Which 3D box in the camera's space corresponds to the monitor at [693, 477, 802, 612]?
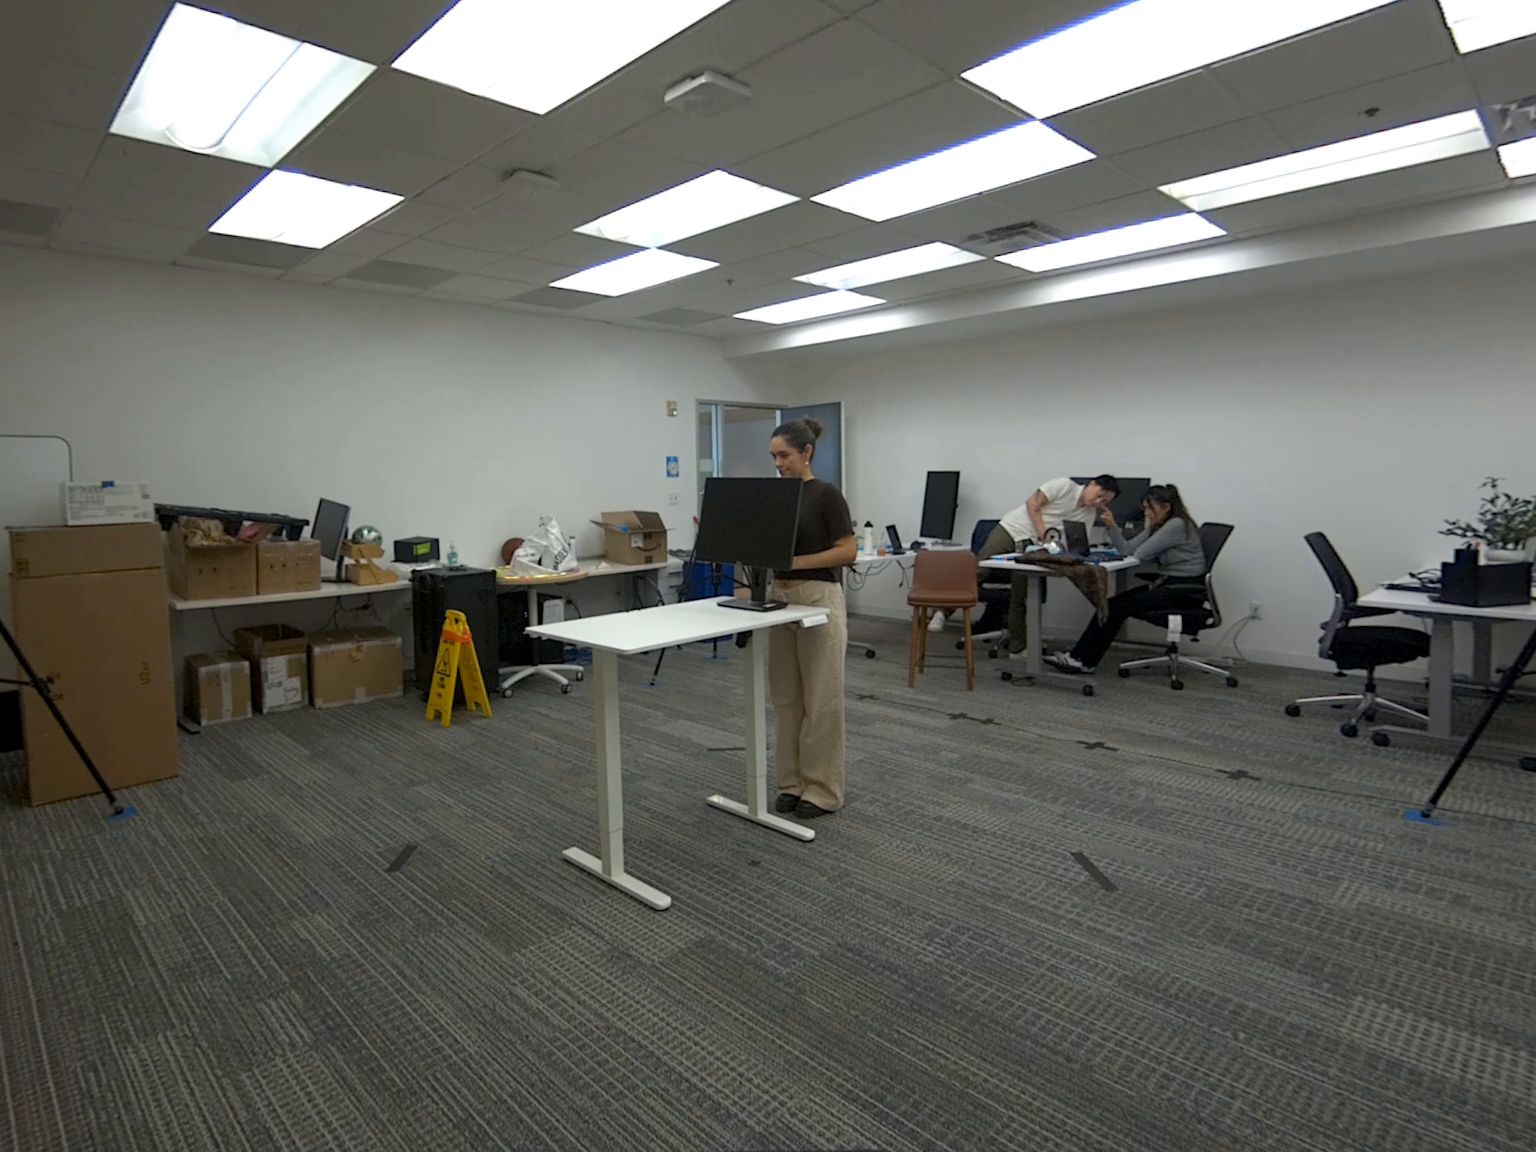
[{"bbox_3d":[-0.071,-0.134,3.409,0.547,0.512,0.170,6,12,43],"label":"monitor"}]
